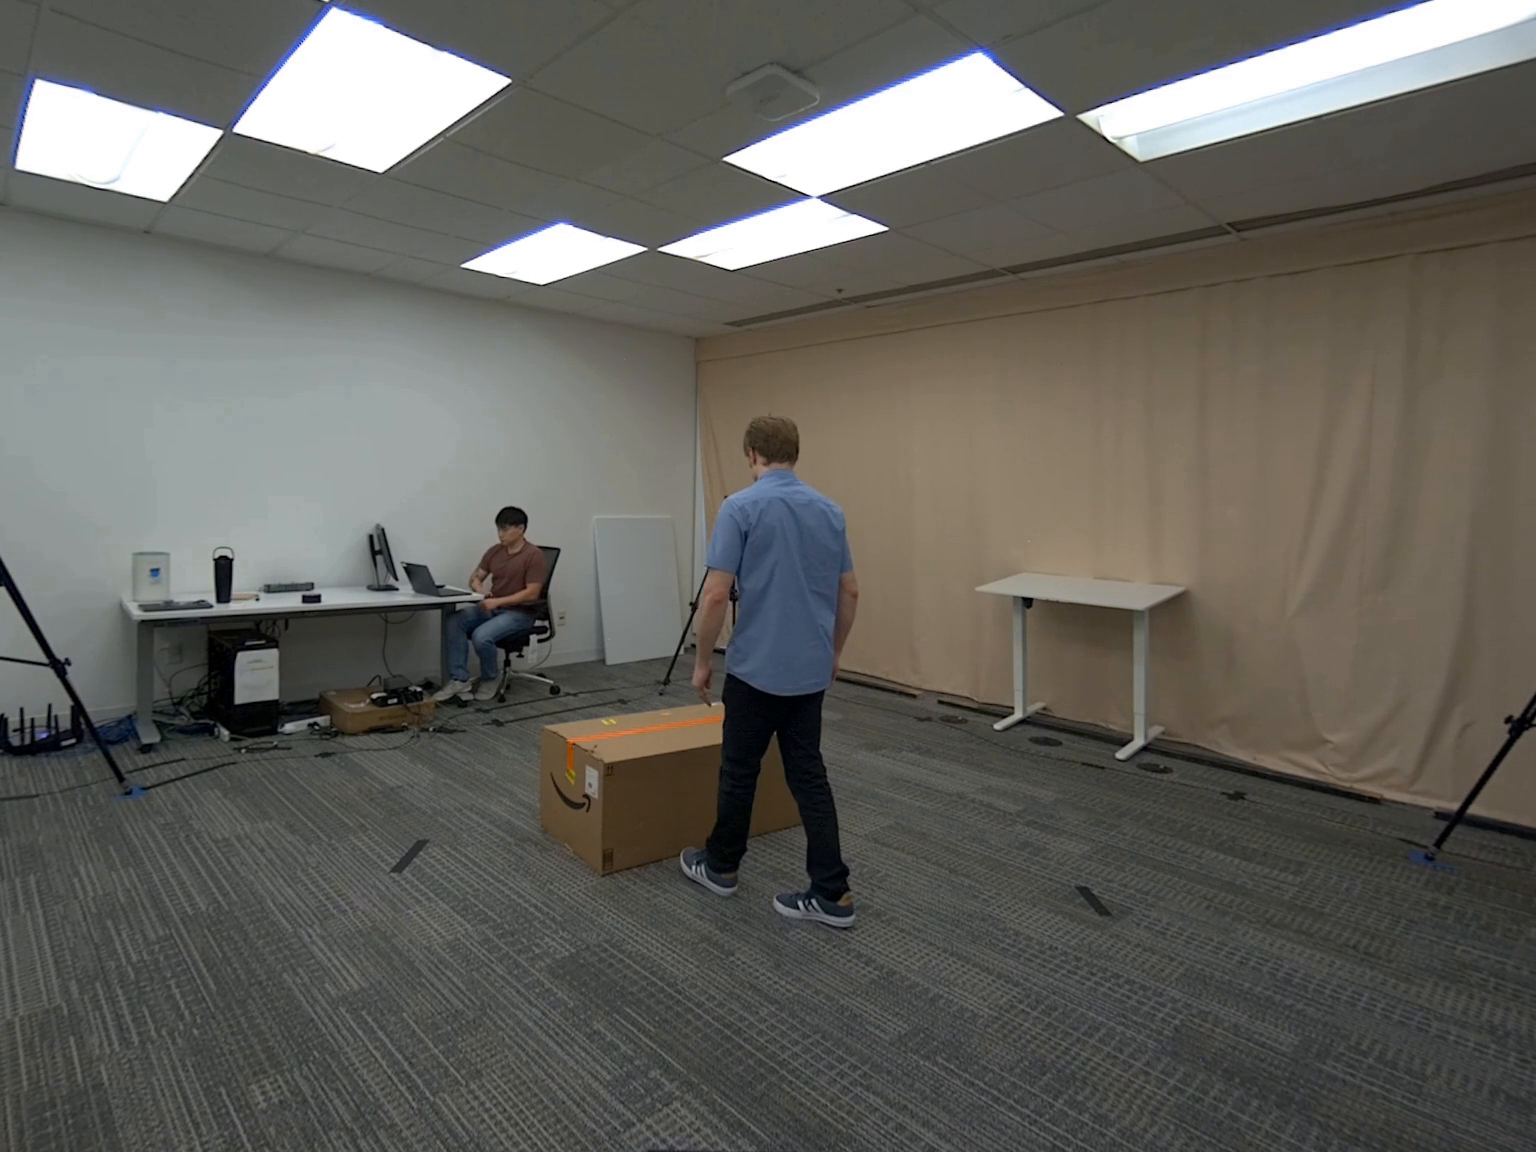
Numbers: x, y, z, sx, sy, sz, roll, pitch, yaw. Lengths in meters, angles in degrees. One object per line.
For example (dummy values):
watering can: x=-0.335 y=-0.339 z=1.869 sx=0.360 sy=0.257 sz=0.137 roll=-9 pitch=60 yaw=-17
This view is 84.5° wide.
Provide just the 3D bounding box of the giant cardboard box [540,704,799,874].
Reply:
giant cardboard box: x=-0.381 y=0.844 z=3.577 sx=1.004 sy=0.445 sz=0.599 roll=-1 pitch=6 yaw=-36
